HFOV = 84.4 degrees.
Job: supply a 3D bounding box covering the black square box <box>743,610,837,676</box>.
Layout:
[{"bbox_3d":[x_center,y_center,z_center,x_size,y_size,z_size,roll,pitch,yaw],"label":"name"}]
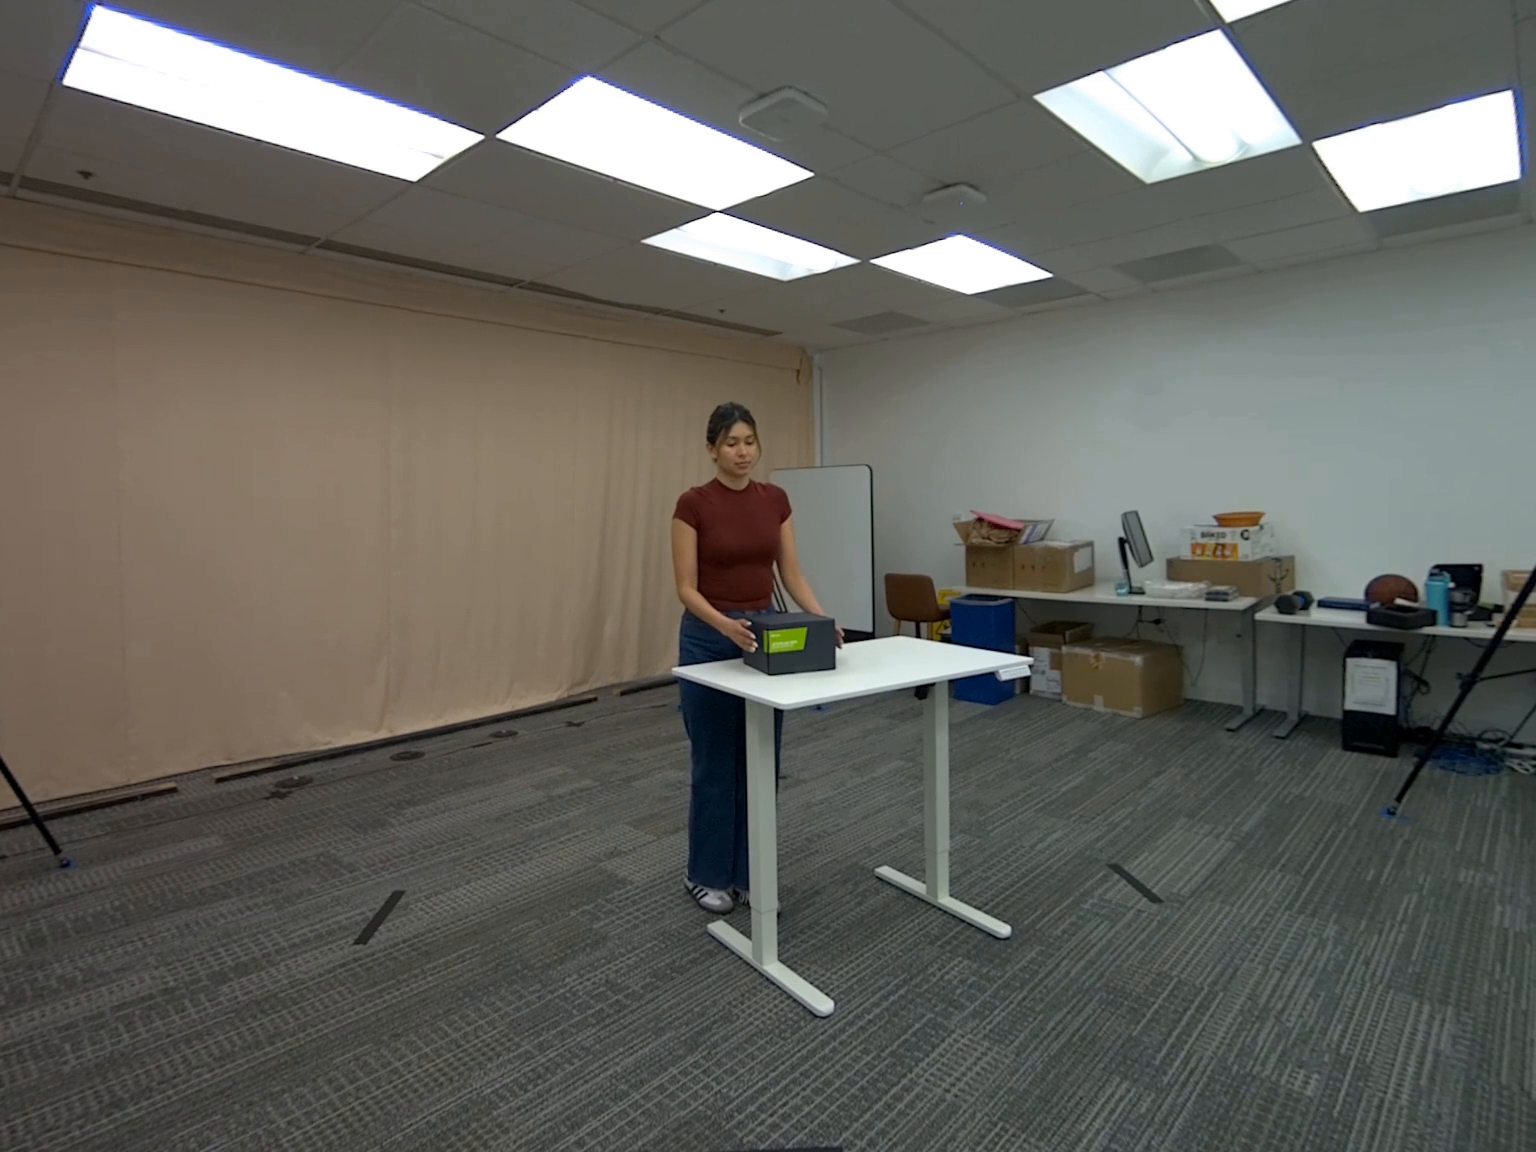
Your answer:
[{"bbox_3d":[0.067,0.210,2.641,0.224,0.155,0.221,-3,4,-19],"label":"black square box"}]
